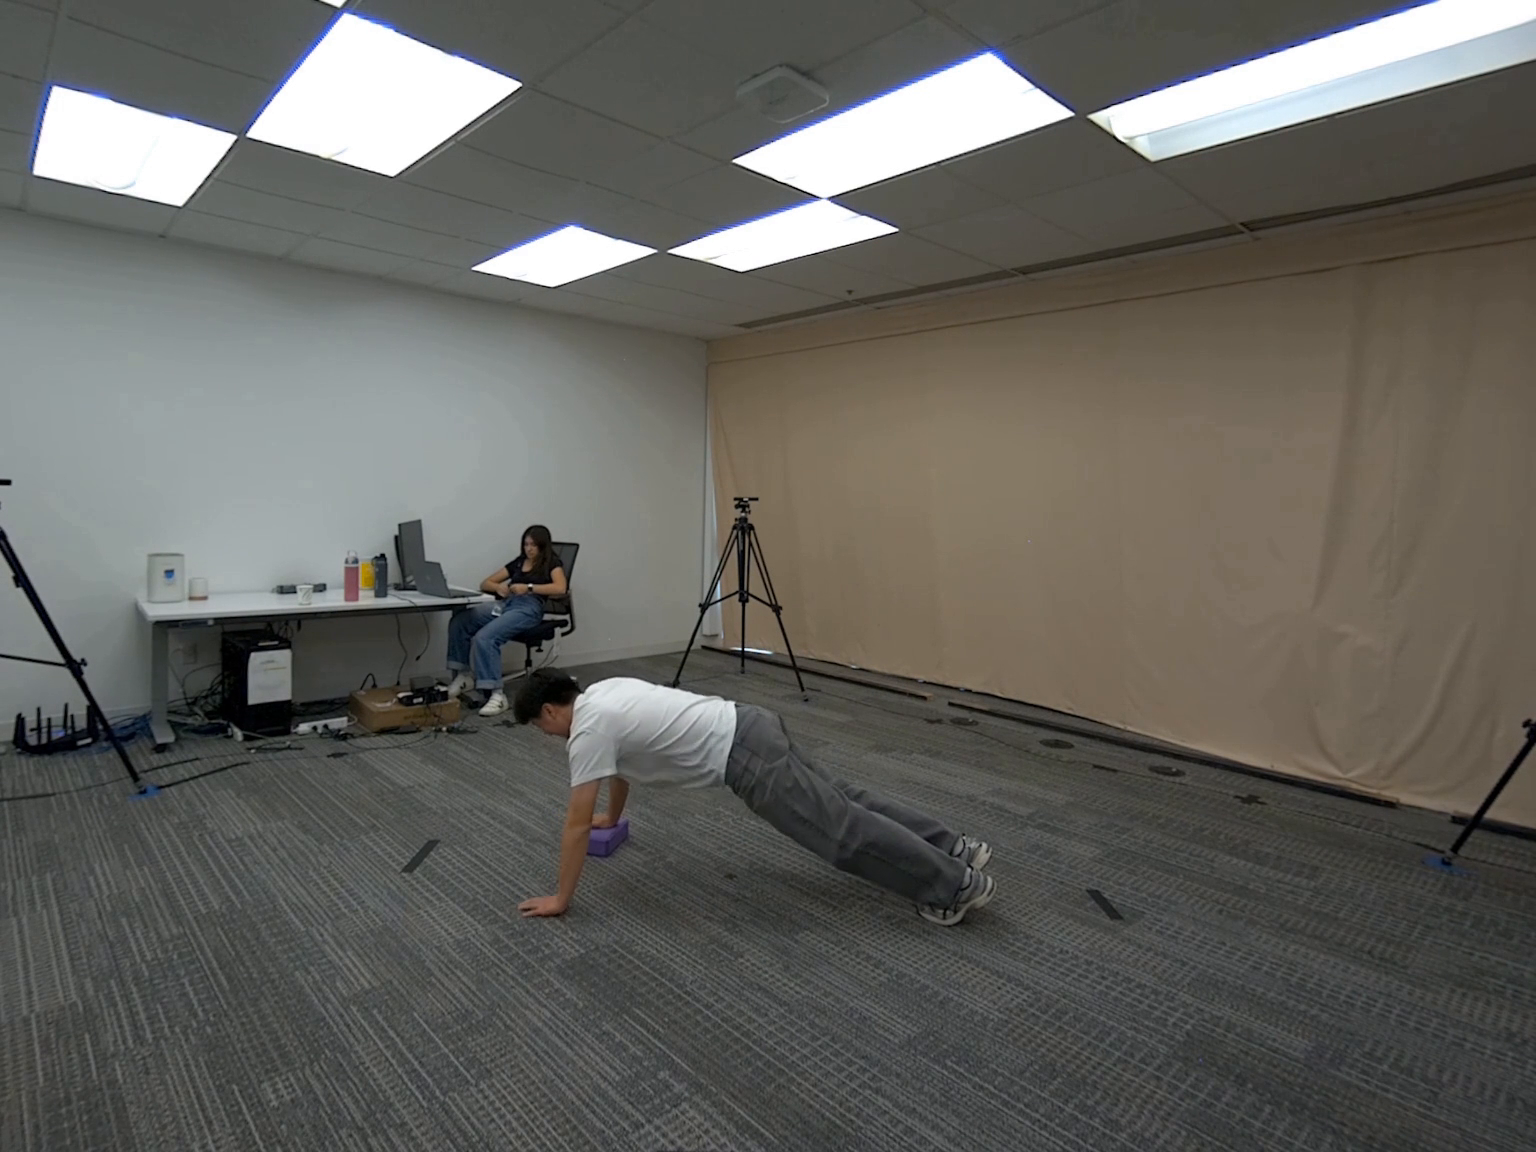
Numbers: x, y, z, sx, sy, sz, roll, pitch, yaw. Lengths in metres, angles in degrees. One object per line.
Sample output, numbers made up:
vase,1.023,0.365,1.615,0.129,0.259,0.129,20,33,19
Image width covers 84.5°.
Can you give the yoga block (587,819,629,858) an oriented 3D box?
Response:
yoga block,-0.675,1.041,3.363,0.151,0.076,0.227,4,6,14
